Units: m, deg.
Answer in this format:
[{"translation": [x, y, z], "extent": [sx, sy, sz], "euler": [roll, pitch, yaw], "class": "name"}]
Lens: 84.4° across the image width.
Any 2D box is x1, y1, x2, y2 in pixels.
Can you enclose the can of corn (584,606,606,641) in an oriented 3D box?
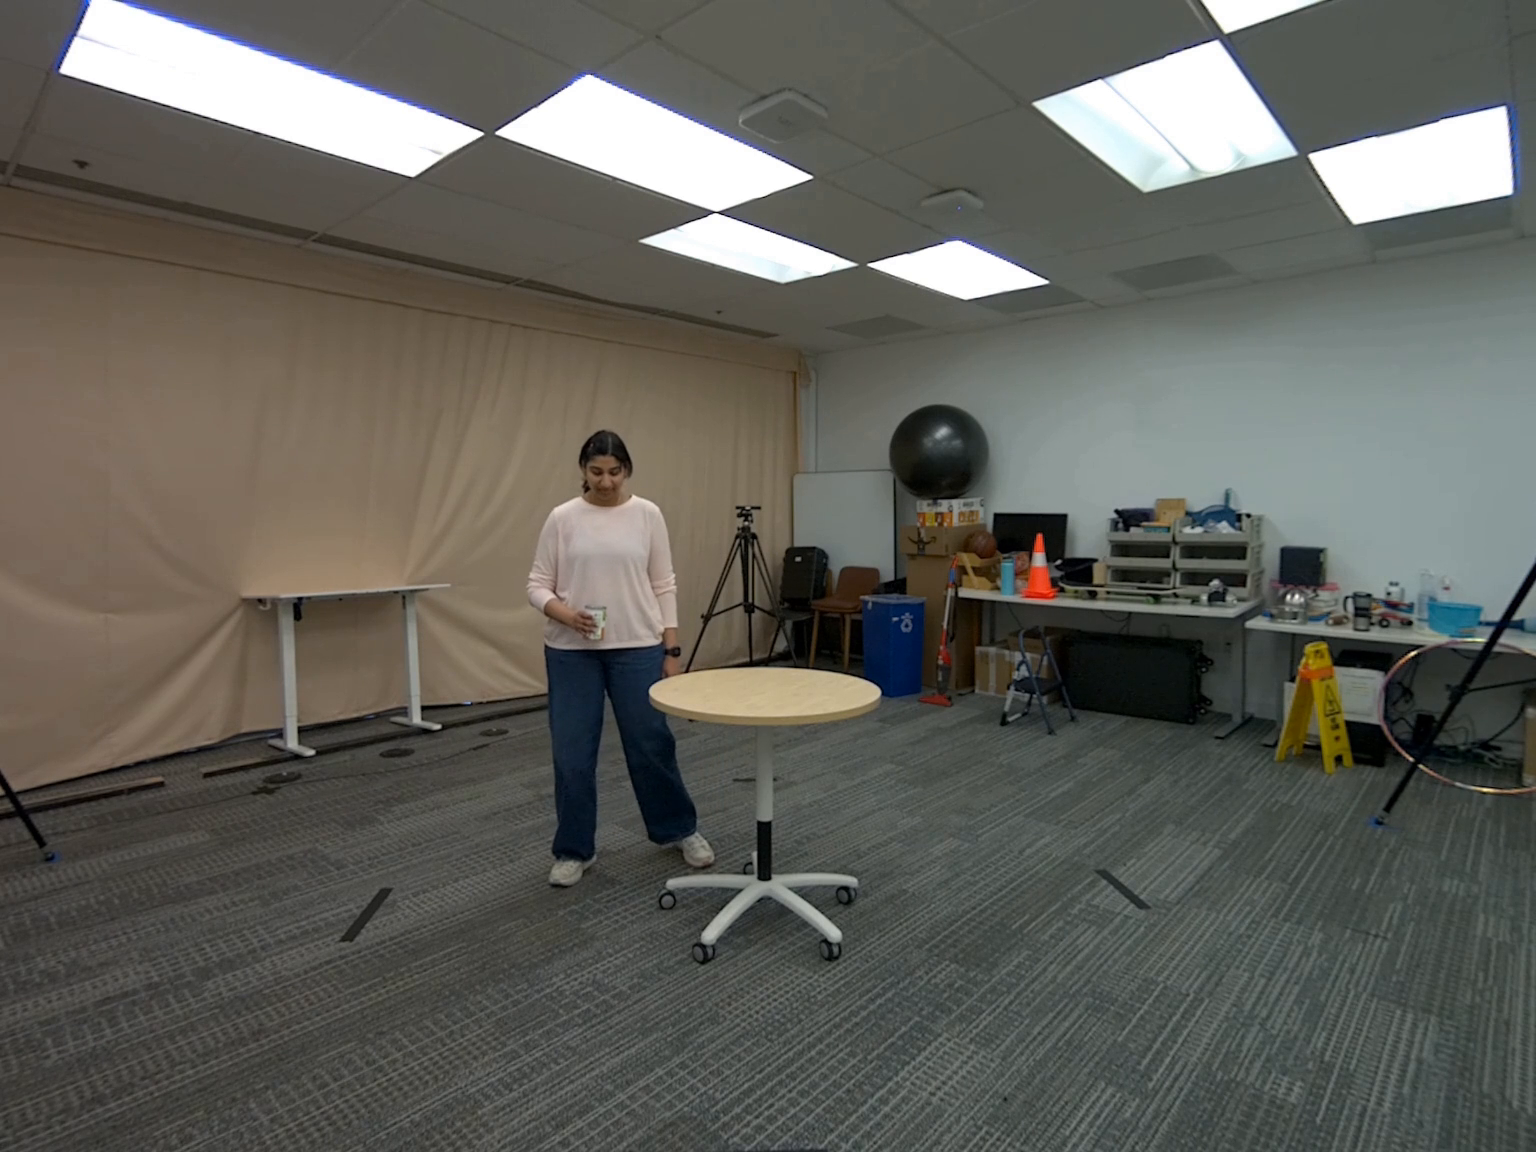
[{"translation": [-0.601, 0.162, 2.907], "extent": [0.074, 0.111, 0.074], "euler": [2, 5, -2], "class": "can of corn"}]
